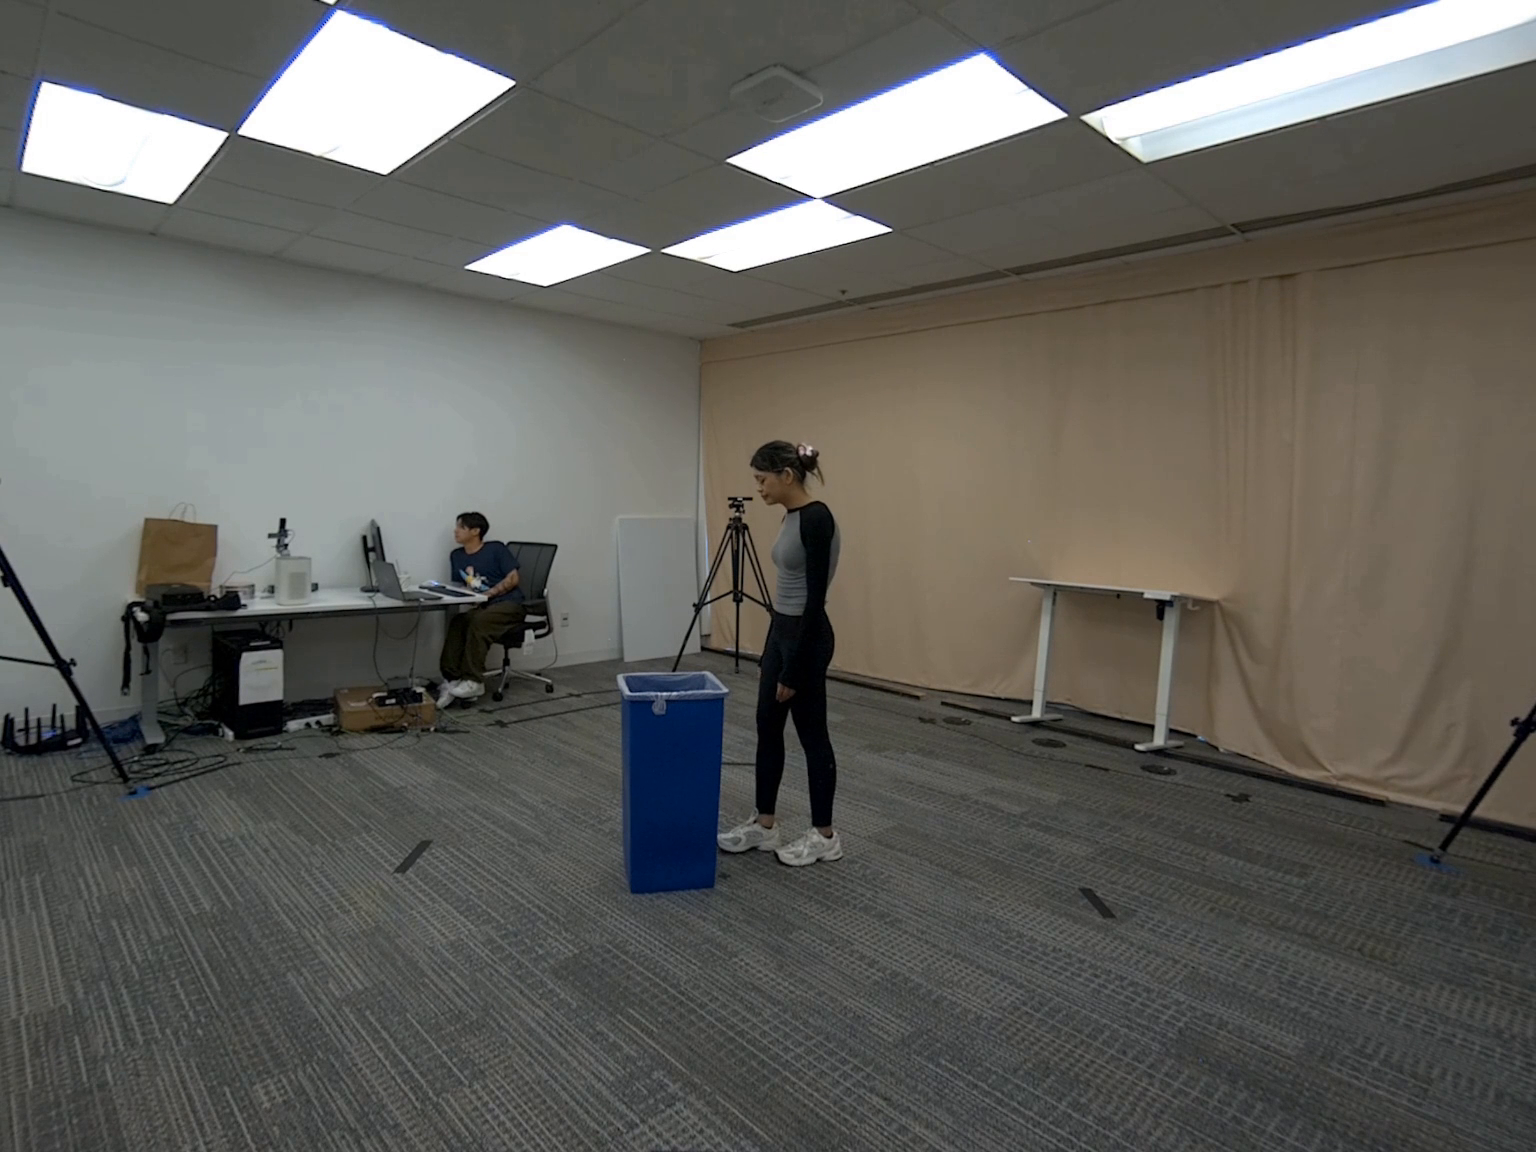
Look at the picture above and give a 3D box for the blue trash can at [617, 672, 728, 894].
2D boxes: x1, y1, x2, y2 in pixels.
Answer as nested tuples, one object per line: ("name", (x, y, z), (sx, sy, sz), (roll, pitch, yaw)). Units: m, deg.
("blue trash can", (-0.374, 0.745, 3.104), (0.374, 0.712, 0.379), (1, 3, -14))
